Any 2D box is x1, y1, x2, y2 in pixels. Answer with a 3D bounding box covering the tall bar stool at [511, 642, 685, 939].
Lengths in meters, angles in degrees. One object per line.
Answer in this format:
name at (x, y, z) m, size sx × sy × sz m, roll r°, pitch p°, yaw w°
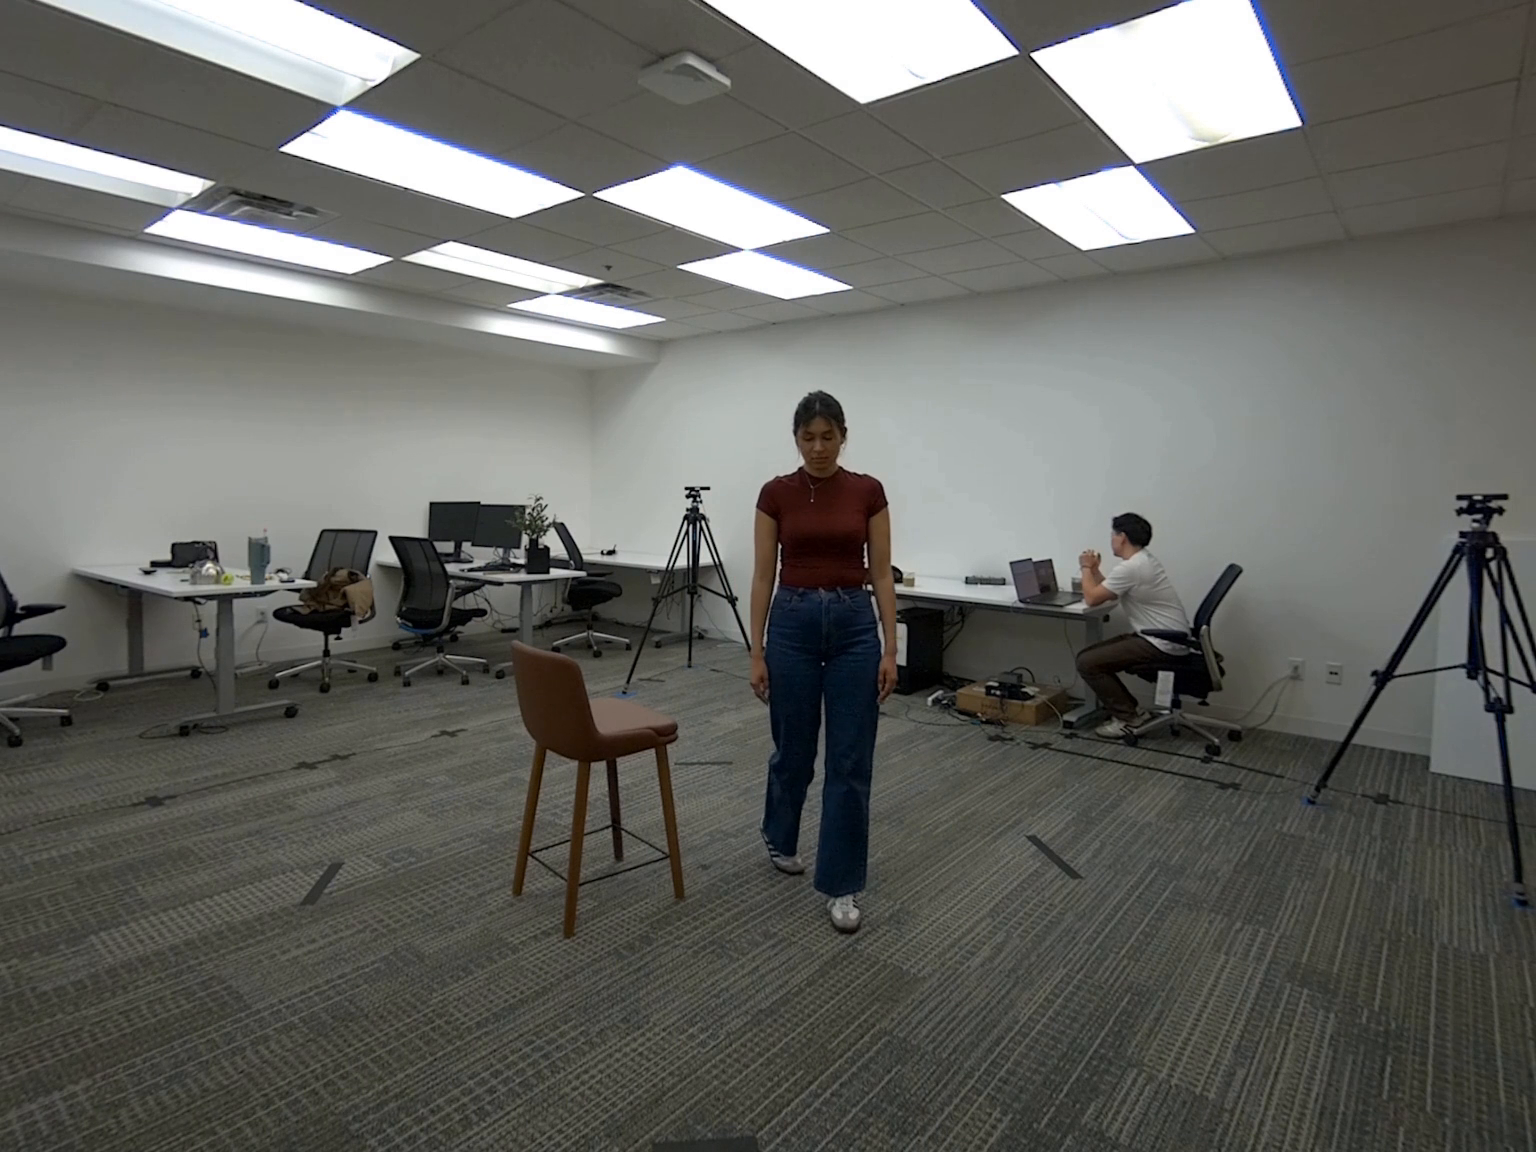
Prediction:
tall bar stool at (-0.592, 0.650, 2.868) m, size 0.454 × 0.886 × 0.472 m, roll -5°, pitch 6°, yaw -42°
